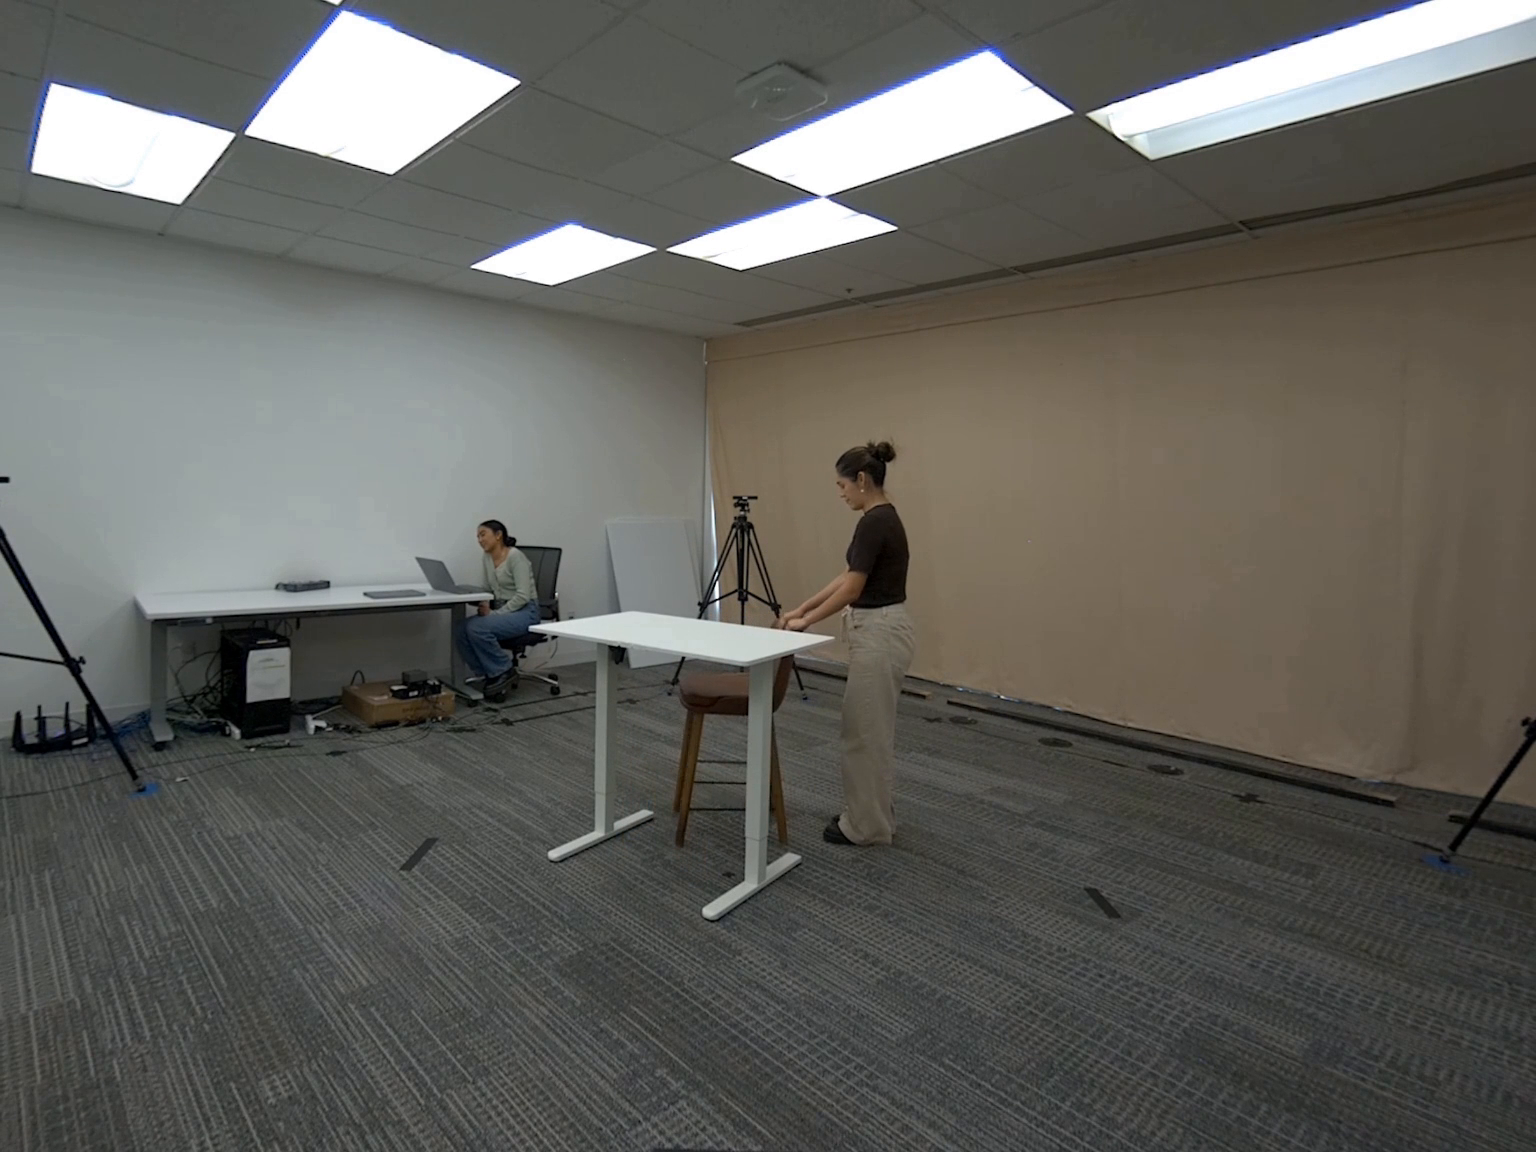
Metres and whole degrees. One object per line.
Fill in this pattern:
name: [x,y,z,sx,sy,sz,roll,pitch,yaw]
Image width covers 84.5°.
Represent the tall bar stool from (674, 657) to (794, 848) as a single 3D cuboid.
tall bar stool: [-0.146,0.620,3.526,0.465,0.888,0.460,4,3,-7]
